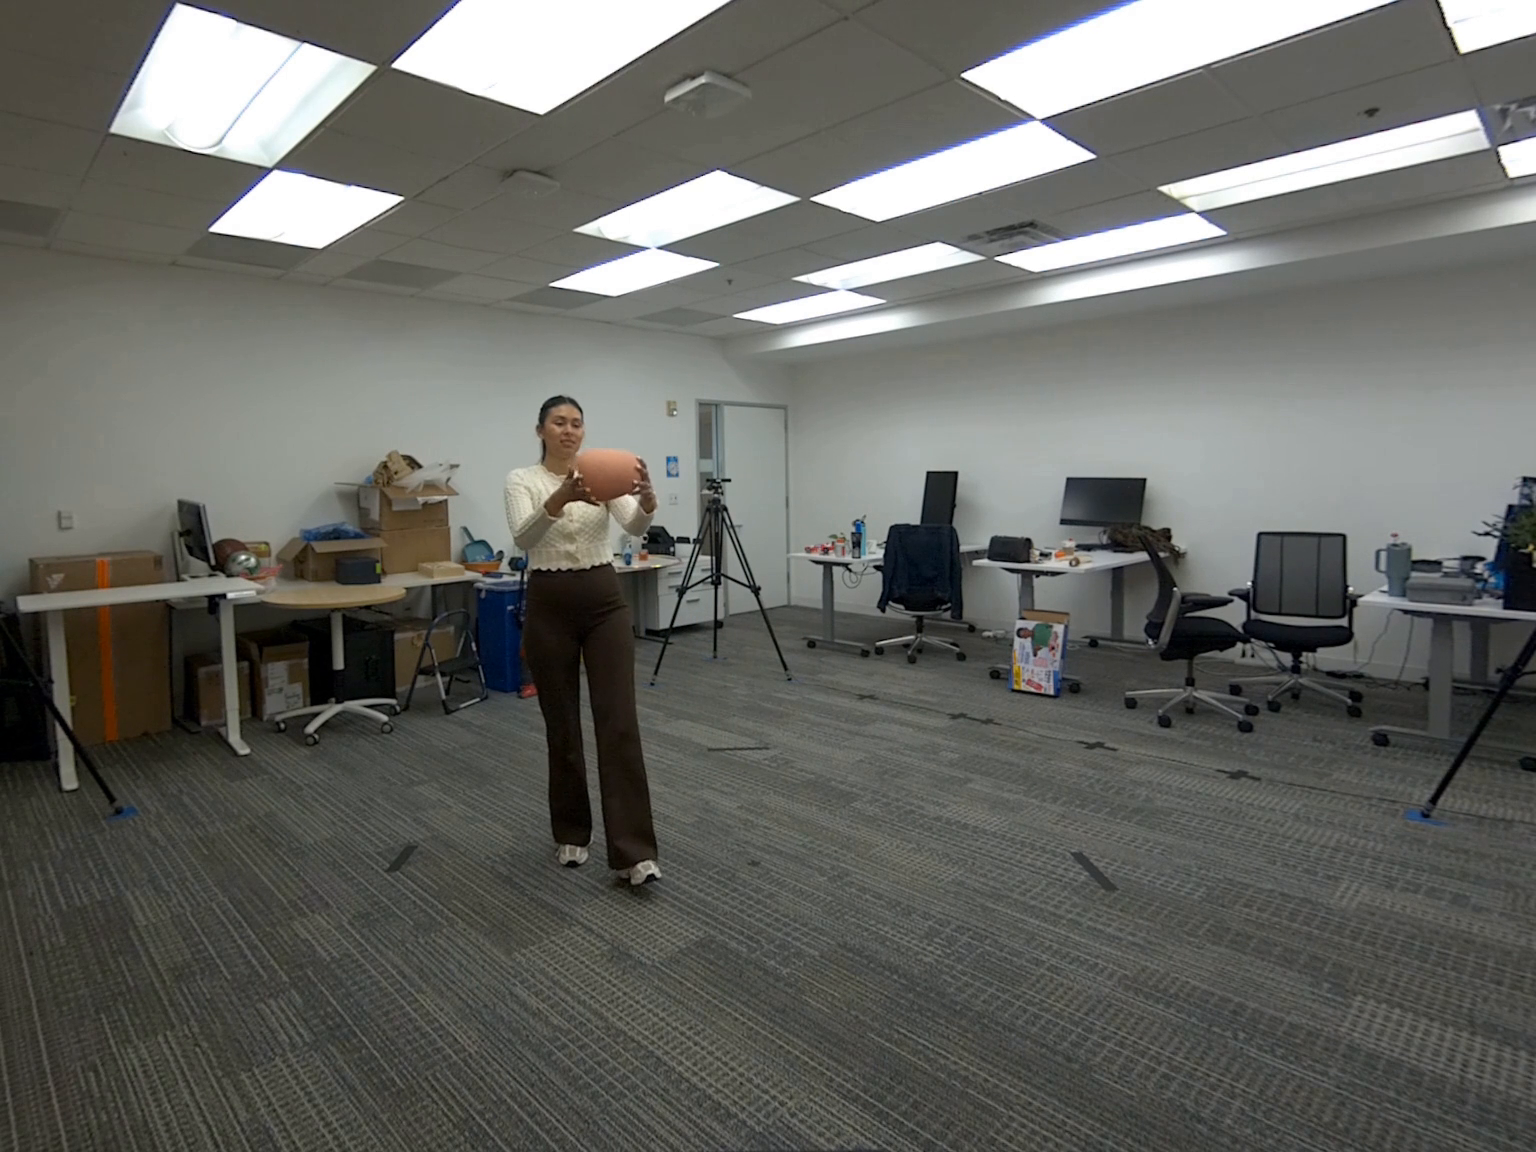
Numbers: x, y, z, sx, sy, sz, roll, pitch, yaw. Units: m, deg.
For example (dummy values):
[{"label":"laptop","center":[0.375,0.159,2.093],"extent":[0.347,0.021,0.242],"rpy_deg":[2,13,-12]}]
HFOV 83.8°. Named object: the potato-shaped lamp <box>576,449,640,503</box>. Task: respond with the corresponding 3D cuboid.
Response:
[{"label":"potato-shaped lamp","center":[-0.487,-0.325,2.681],"extent":[0.197,0.160,0.177],"rpy_deg":[-13,32,-9]}]
